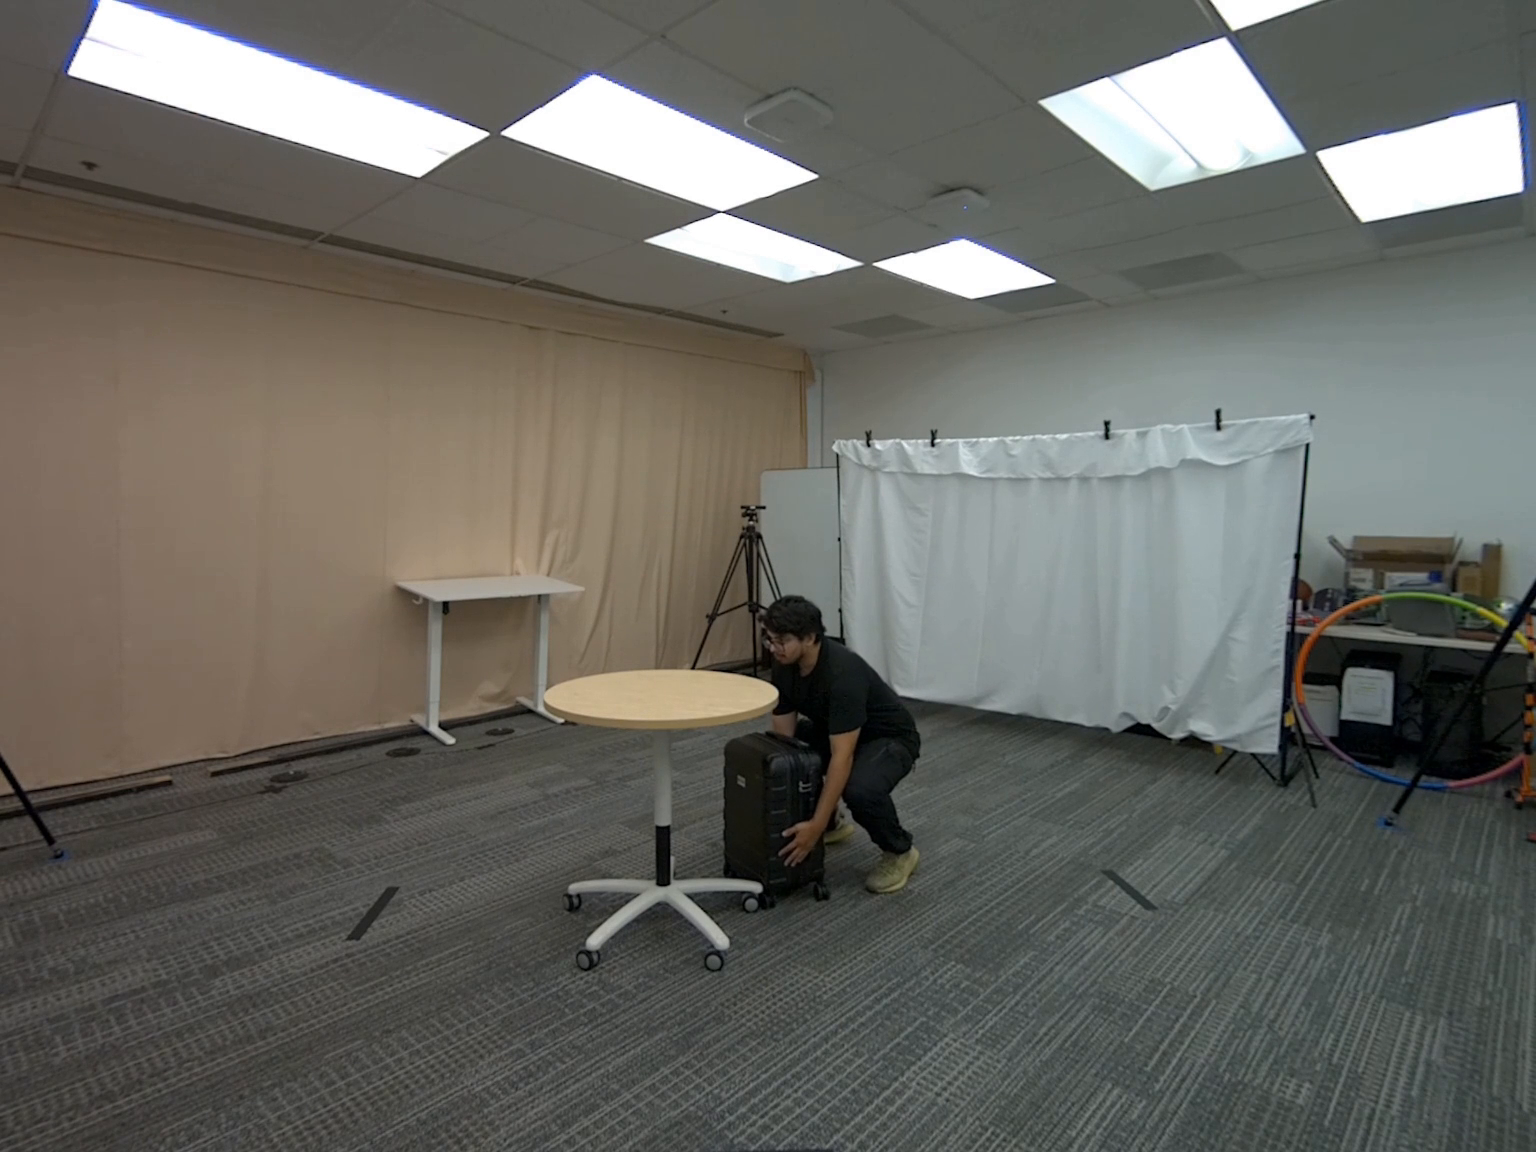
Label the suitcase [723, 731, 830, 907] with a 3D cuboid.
[{"bbox_3d":[0.016,0.859,3.063,0.242,0.548,0.385,-2,3,-27],"label":"suitcase"}]
